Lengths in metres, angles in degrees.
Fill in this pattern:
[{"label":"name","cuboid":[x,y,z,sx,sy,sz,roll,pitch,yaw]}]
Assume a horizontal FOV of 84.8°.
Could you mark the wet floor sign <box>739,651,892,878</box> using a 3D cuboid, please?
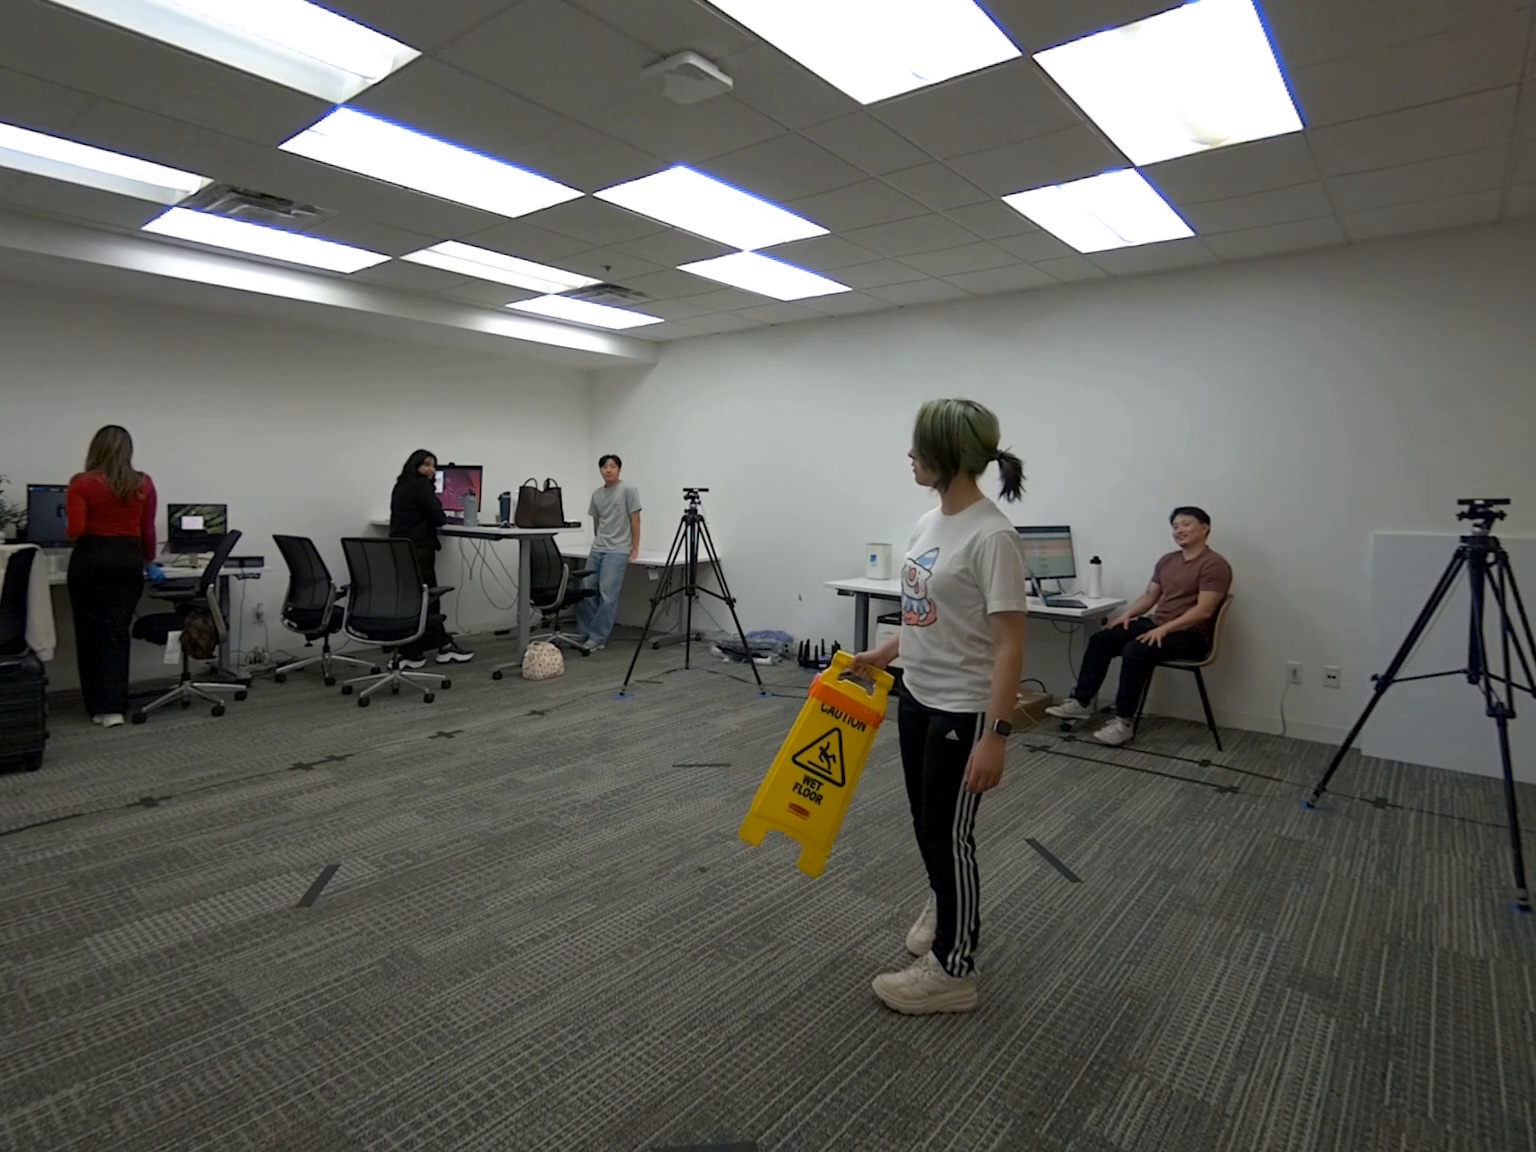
[{"label":"wet floor sign","cuboid":[0.174,0.564,2.693,0.285,0.643,0.288,24,9,6]}]
